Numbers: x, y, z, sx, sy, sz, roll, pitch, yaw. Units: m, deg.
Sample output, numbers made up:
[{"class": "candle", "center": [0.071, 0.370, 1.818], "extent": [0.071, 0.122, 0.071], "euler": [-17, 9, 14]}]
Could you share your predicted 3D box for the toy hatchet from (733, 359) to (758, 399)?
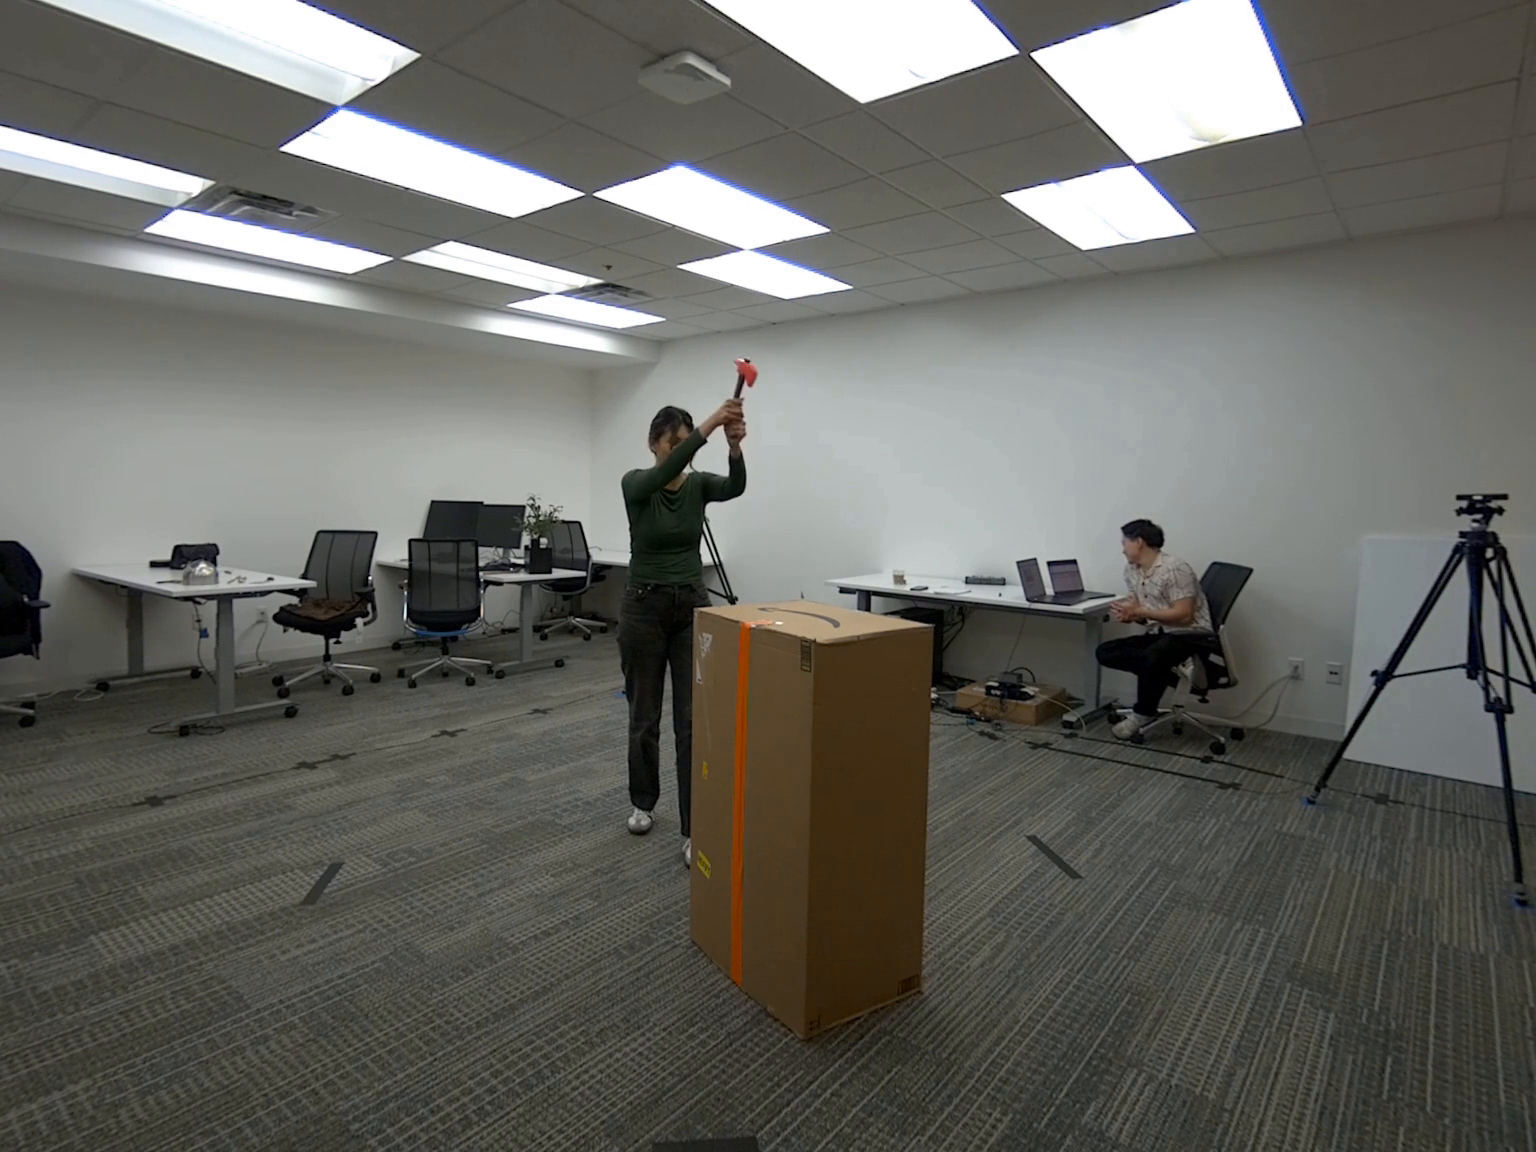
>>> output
[{"class": "toy hatchet", "center": [-0.099, -0.588, 2.872], "extent": [0.029, 0.267, 0.136], "euler": [-6, 15, -40]}]
